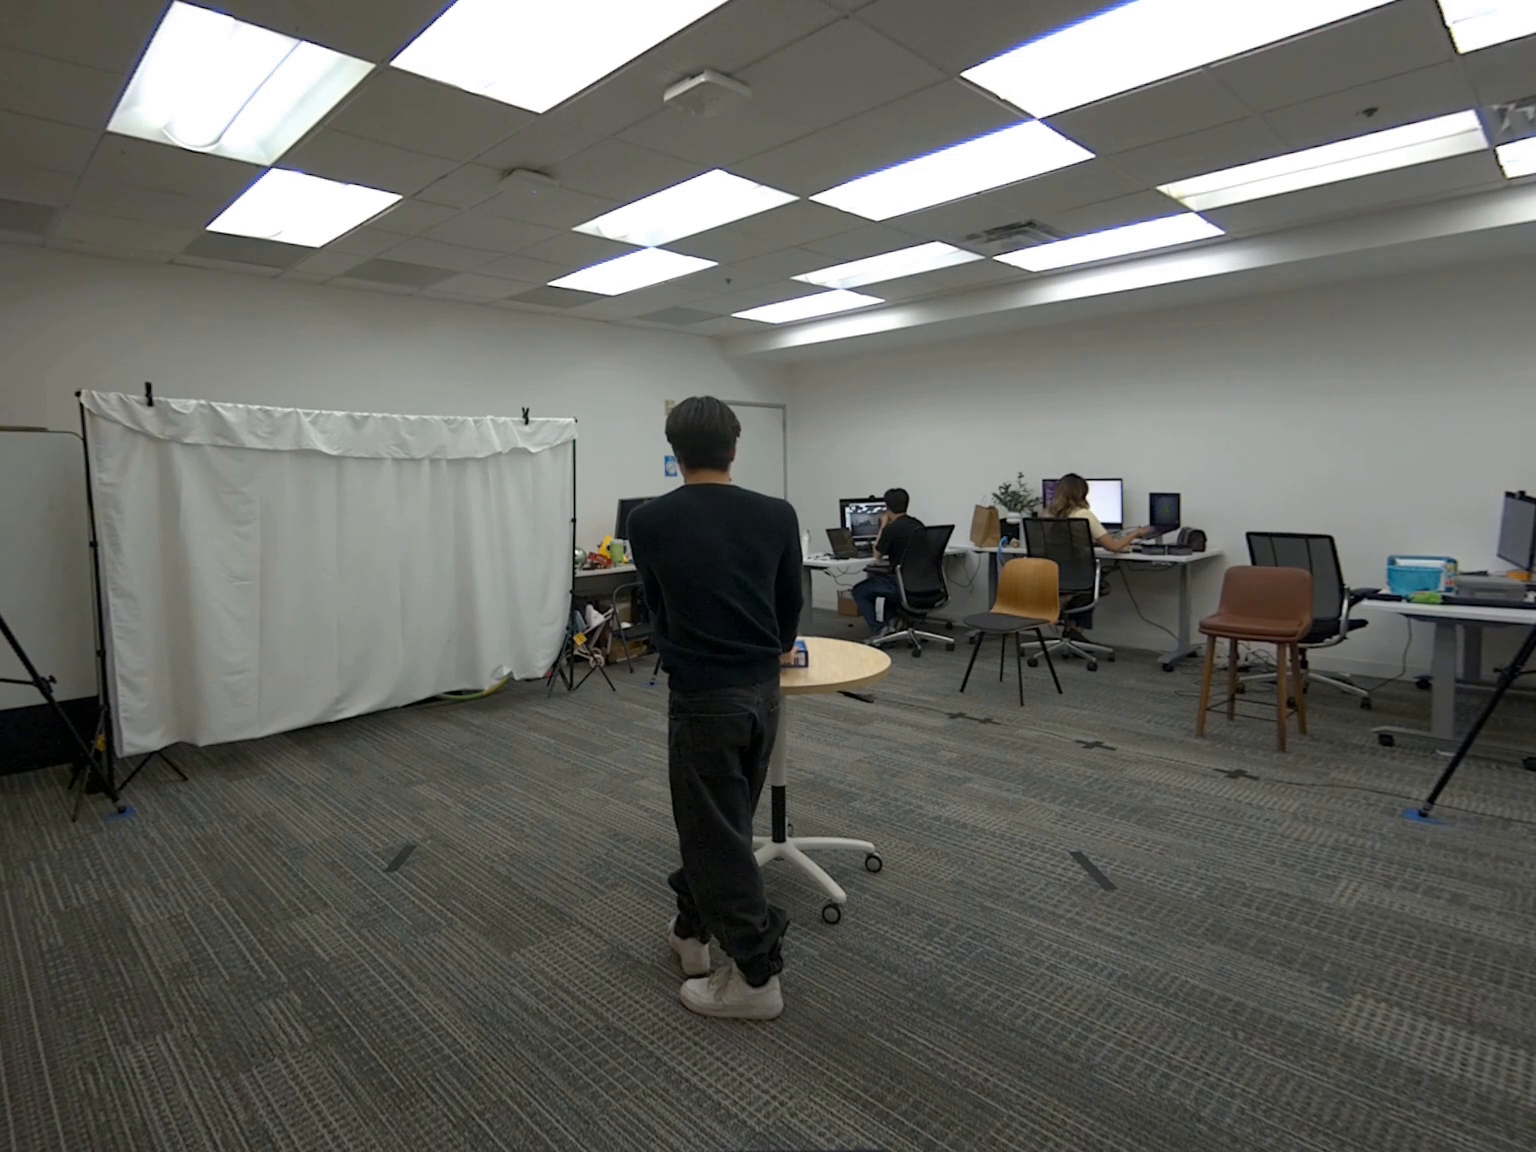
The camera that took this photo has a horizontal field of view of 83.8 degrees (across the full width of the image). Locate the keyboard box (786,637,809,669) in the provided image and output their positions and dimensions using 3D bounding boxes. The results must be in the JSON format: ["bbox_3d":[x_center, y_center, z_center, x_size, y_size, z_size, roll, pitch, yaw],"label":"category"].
[{"bbox_3d":[-0.084,0.258,2.857,0.437,0.059,0.177,0,7,1],"label":"keyboard box"}]
